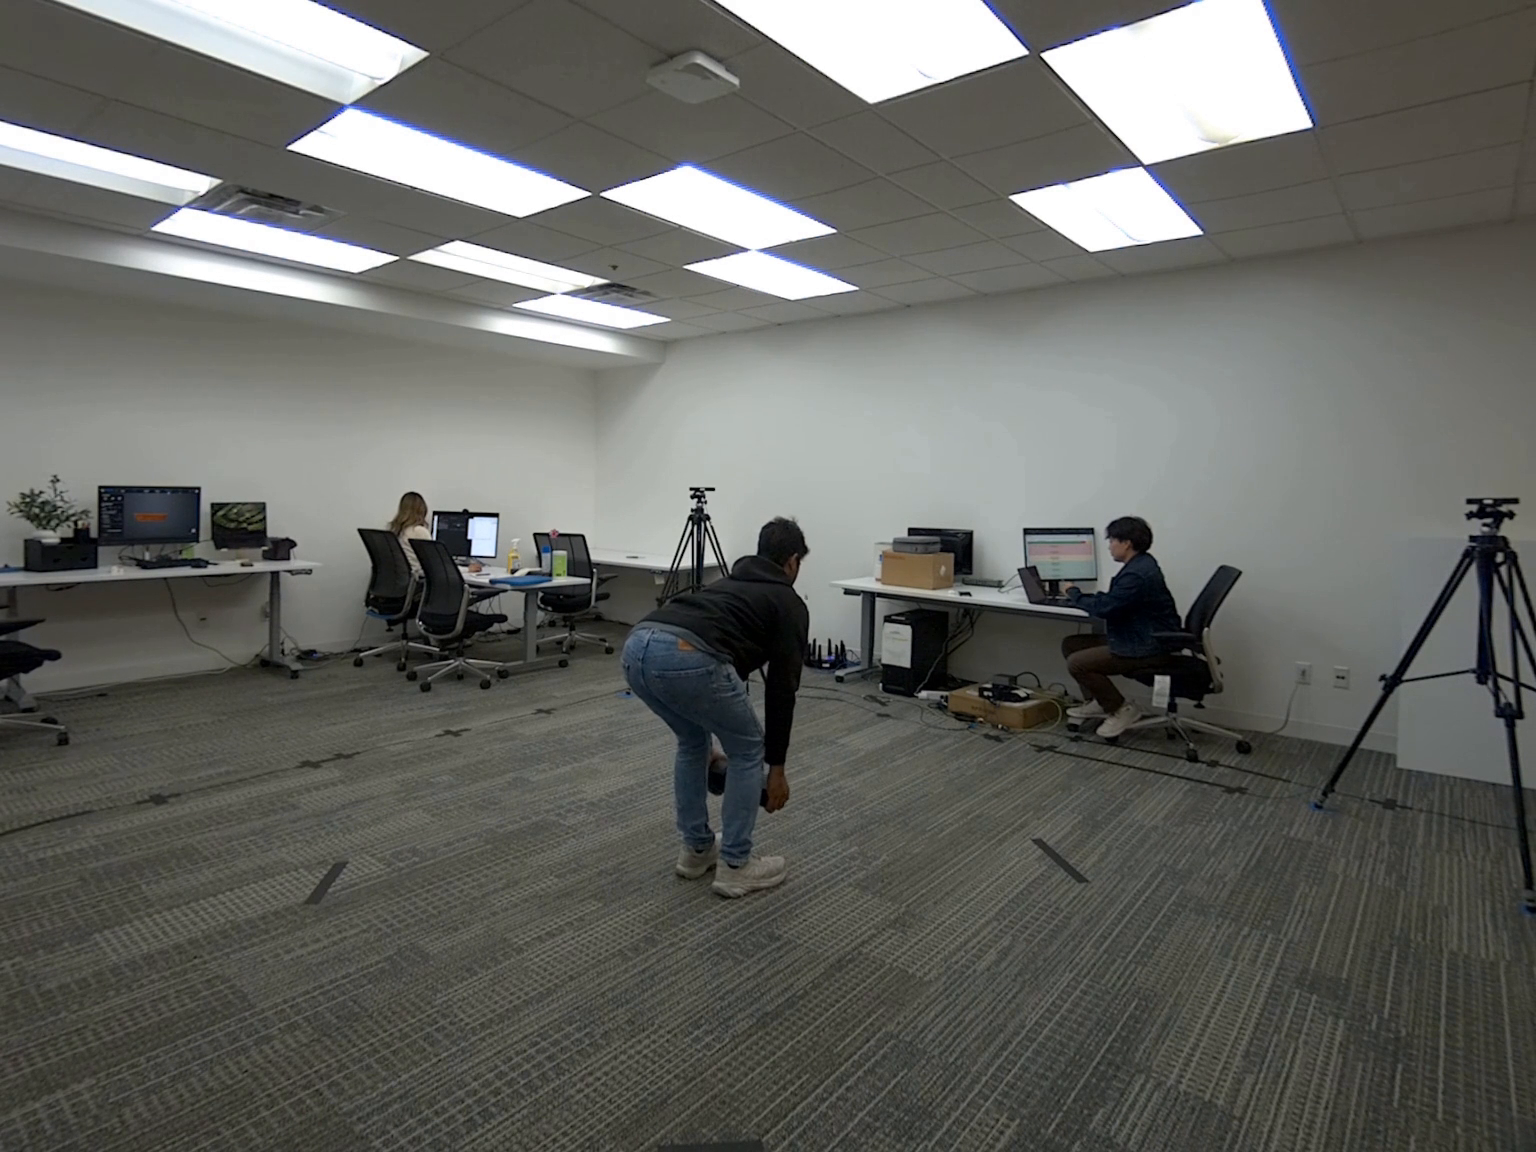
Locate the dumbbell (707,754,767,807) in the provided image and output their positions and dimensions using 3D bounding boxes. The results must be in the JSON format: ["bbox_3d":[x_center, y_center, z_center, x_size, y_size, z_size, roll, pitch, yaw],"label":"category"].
[{"bbox_3d":[-0.100,0.761,3.109,0.304,0.105,0.122,9,37,38],"label":"dumbbell"}]
